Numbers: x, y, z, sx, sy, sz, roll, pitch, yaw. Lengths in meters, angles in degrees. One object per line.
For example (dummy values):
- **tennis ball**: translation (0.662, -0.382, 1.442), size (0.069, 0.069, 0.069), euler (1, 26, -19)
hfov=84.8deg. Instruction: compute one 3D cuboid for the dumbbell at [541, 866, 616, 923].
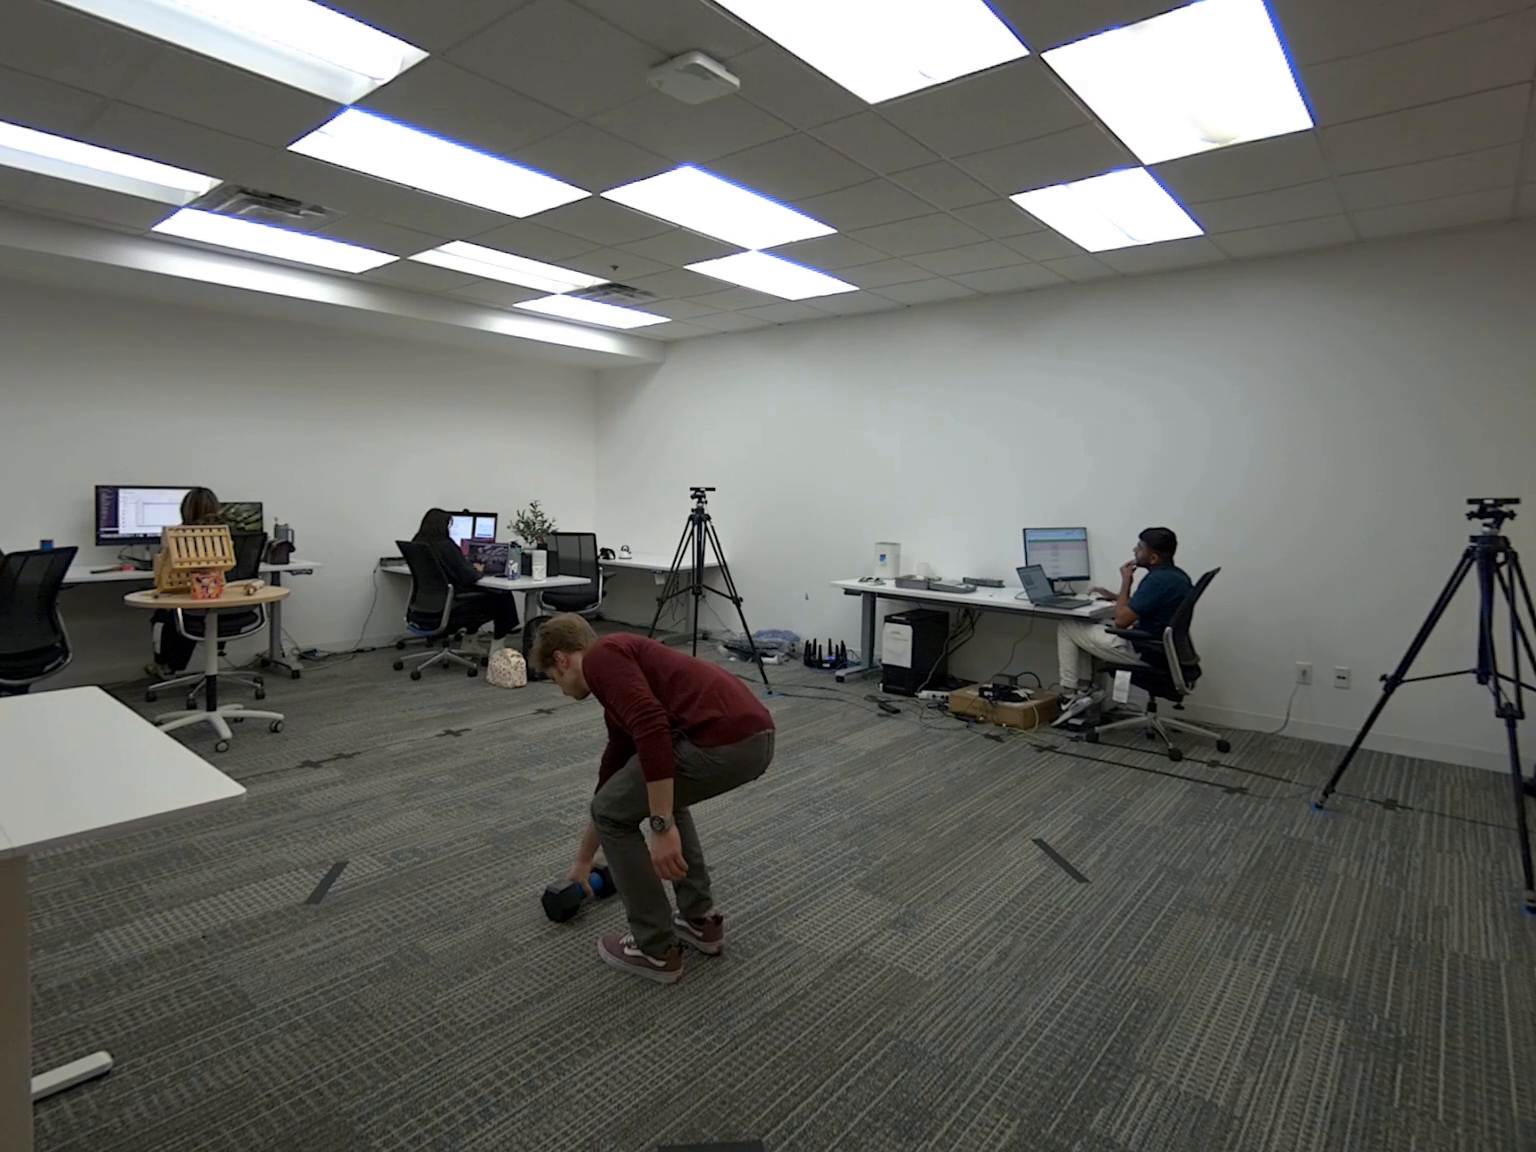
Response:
- **dumbbell**: translation (-0.621, 1.032, 2.819), size (0.112, 0.122, 0.286), euler (35, 21, 25)
